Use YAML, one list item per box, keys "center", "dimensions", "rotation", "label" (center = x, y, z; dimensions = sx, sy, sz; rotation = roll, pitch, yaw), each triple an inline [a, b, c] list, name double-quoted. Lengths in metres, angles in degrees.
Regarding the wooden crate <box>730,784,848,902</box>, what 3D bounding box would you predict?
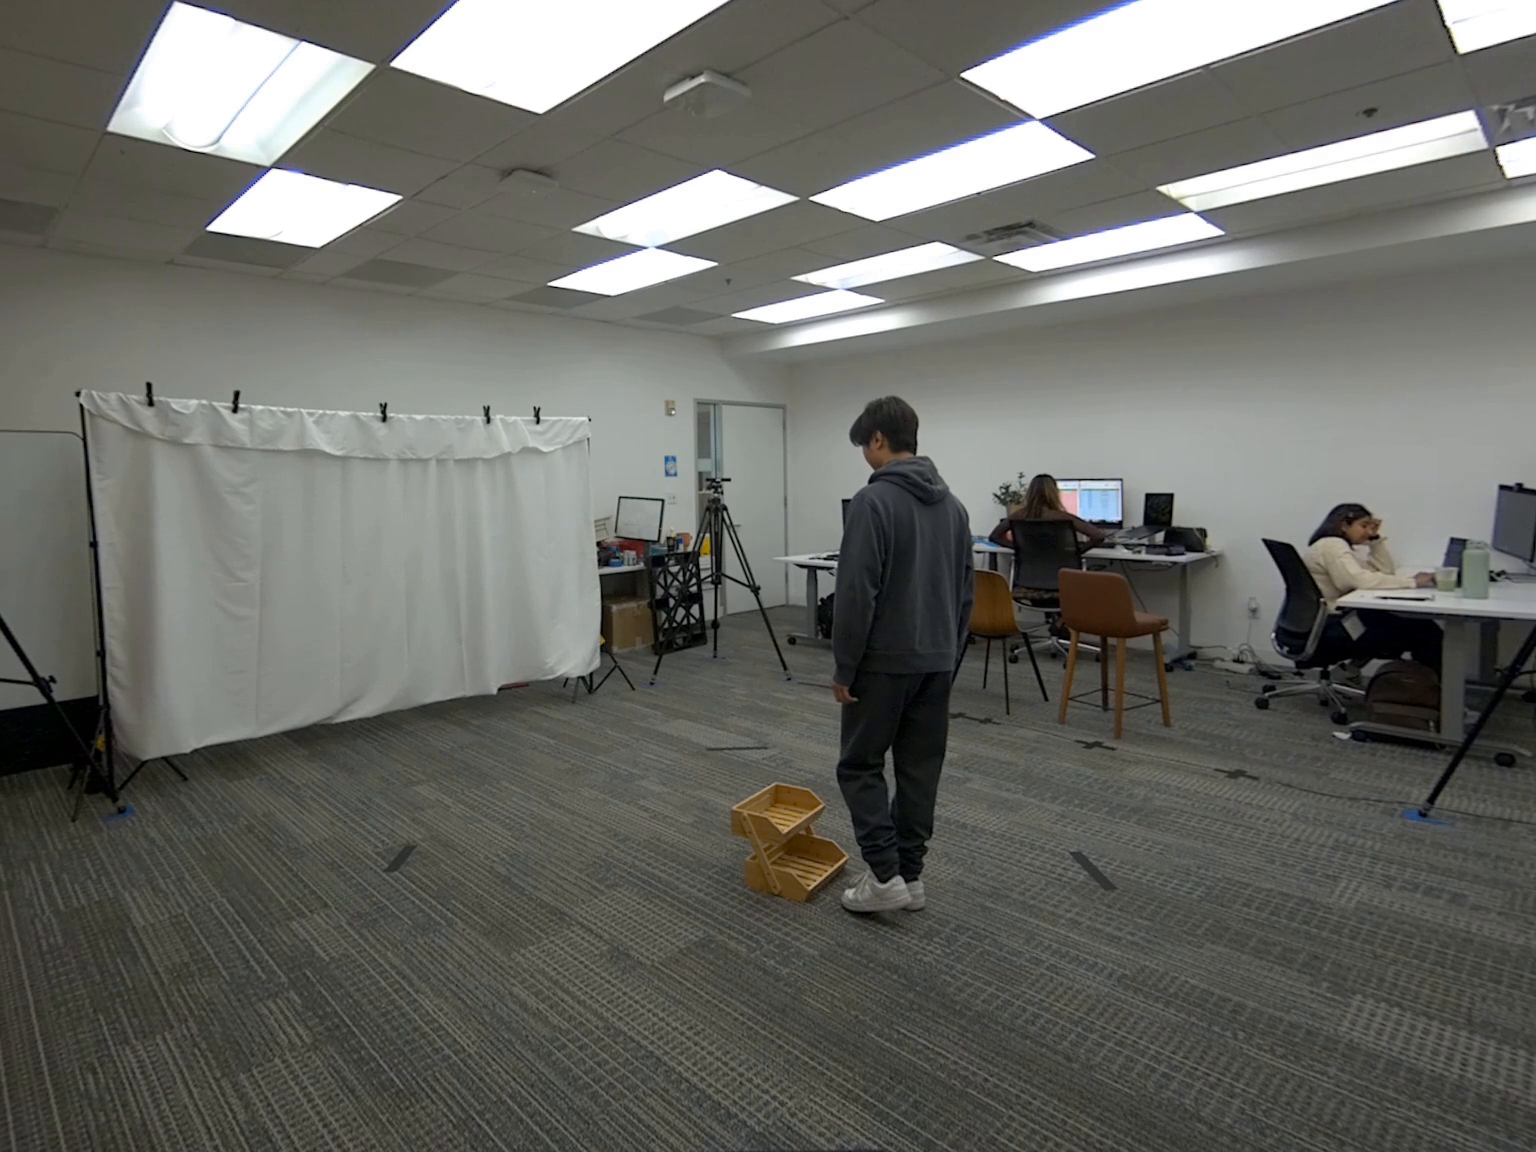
- center: [0.084, 0.920, 2.995]
  dimensions: [0.310, 0.272, 0.317]
  rotation: [2, 6, 33]
  label: "wooden crate"
